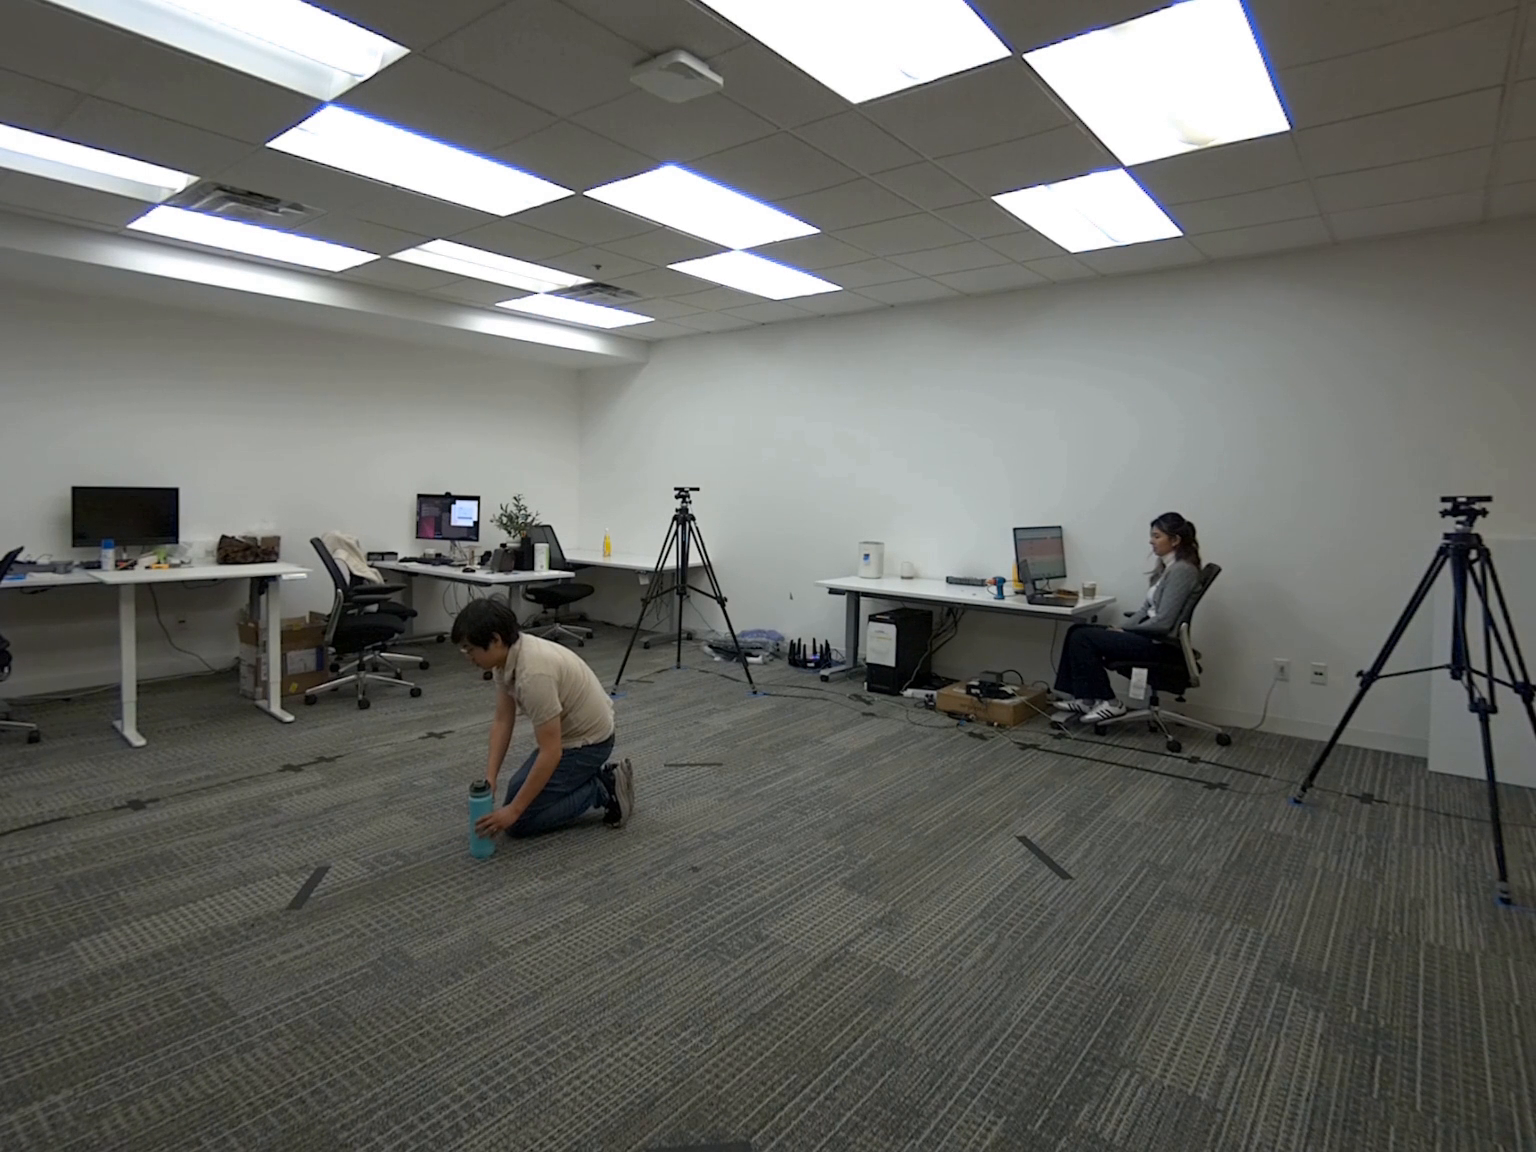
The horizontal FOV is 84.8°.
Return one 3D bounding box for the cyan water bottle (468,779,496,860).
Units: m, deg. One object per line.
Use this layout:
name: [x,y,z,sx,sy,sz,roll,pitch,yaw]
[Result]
cyan water bottle: [-1.095,0.909,3.201,0.092,0.283,0.093,-1,3,-2]
